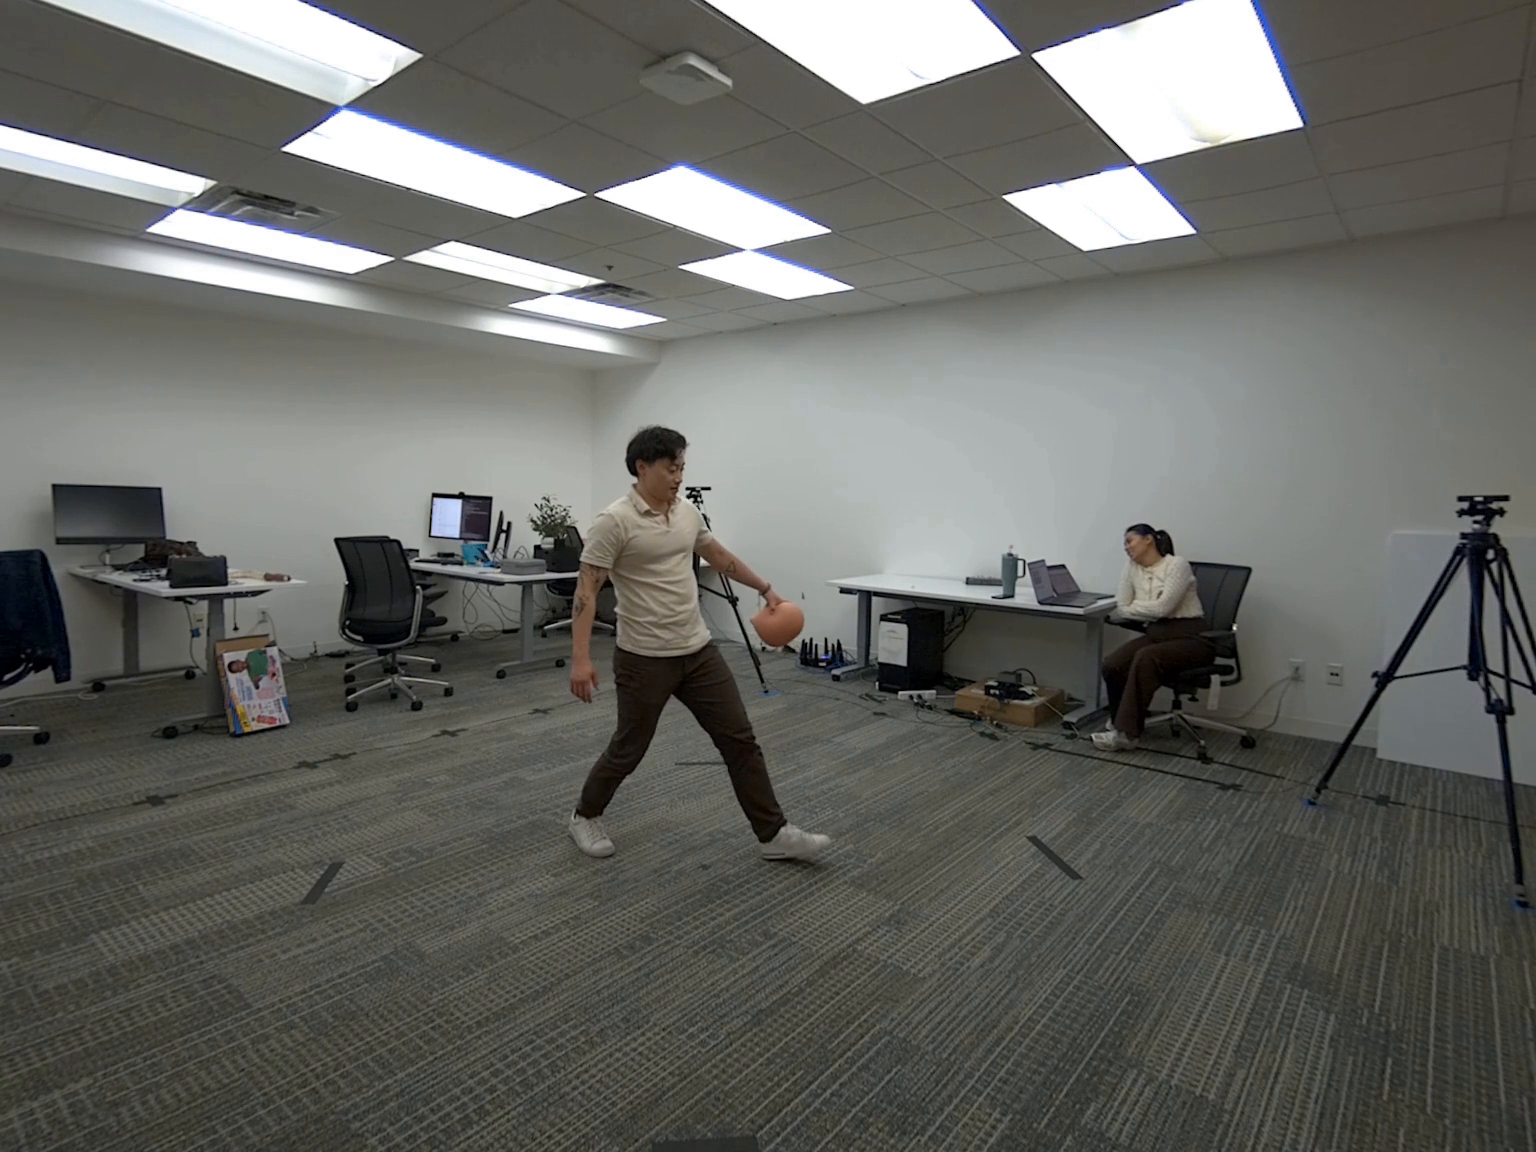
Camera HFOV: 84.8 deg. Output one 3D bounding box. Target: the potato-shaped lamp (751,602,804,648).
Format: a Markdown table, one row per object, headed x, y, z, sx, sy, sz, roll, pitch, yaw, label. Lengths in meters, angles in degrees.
| x | y | z | sx | sy | sz | roll | pitch | yaw | label |
| --- | --- | --- | --- | --- | --- | --- | --- | --- | --- |
| 0.038 | 0.194 | 3.476 | 0.198 | 0.177 | 0.159 | -37 | -24 | 12 | potato-shaped lamp |
